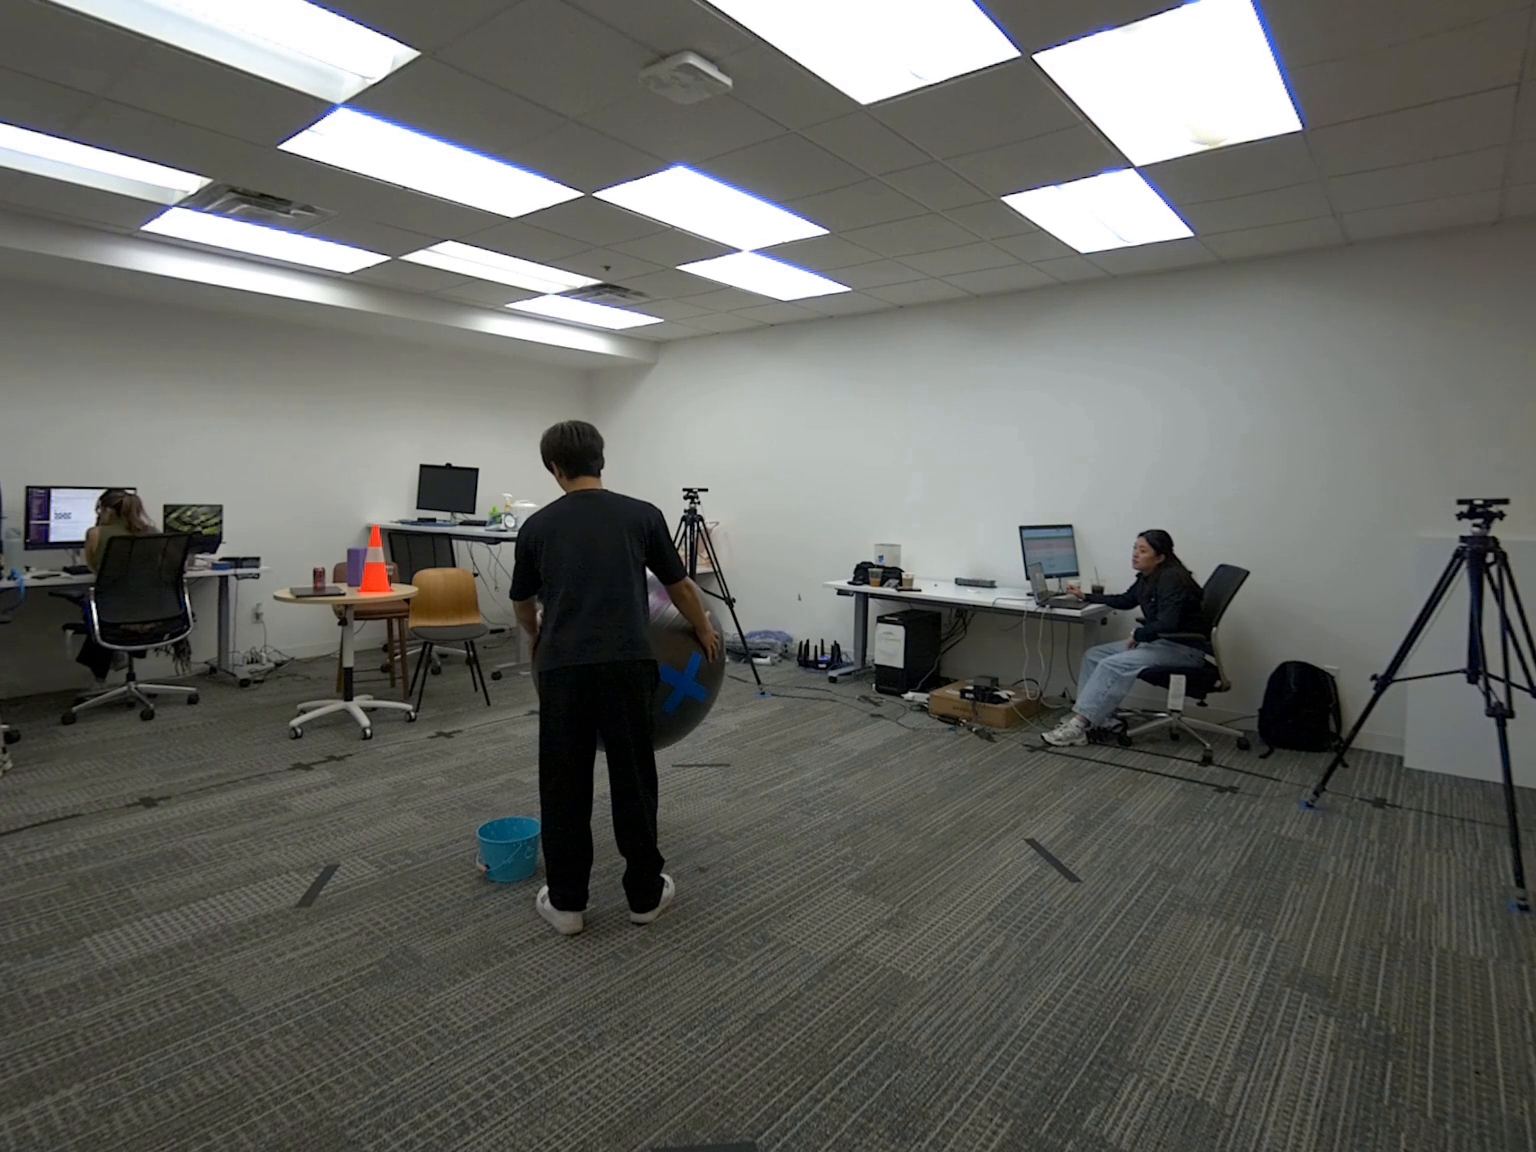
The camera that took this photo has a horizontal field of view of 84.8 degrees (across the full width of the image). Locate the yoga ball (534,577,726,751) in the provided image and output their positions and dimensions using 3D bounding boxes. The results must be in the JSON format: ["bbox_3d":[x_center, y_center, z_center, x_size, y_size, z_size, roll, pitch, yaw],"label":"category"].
[{"bbox_3d":[-0.560,0.319,3.311,0.757,0.755,0.762,1,4,-2],"label":"yoga ball"}]
